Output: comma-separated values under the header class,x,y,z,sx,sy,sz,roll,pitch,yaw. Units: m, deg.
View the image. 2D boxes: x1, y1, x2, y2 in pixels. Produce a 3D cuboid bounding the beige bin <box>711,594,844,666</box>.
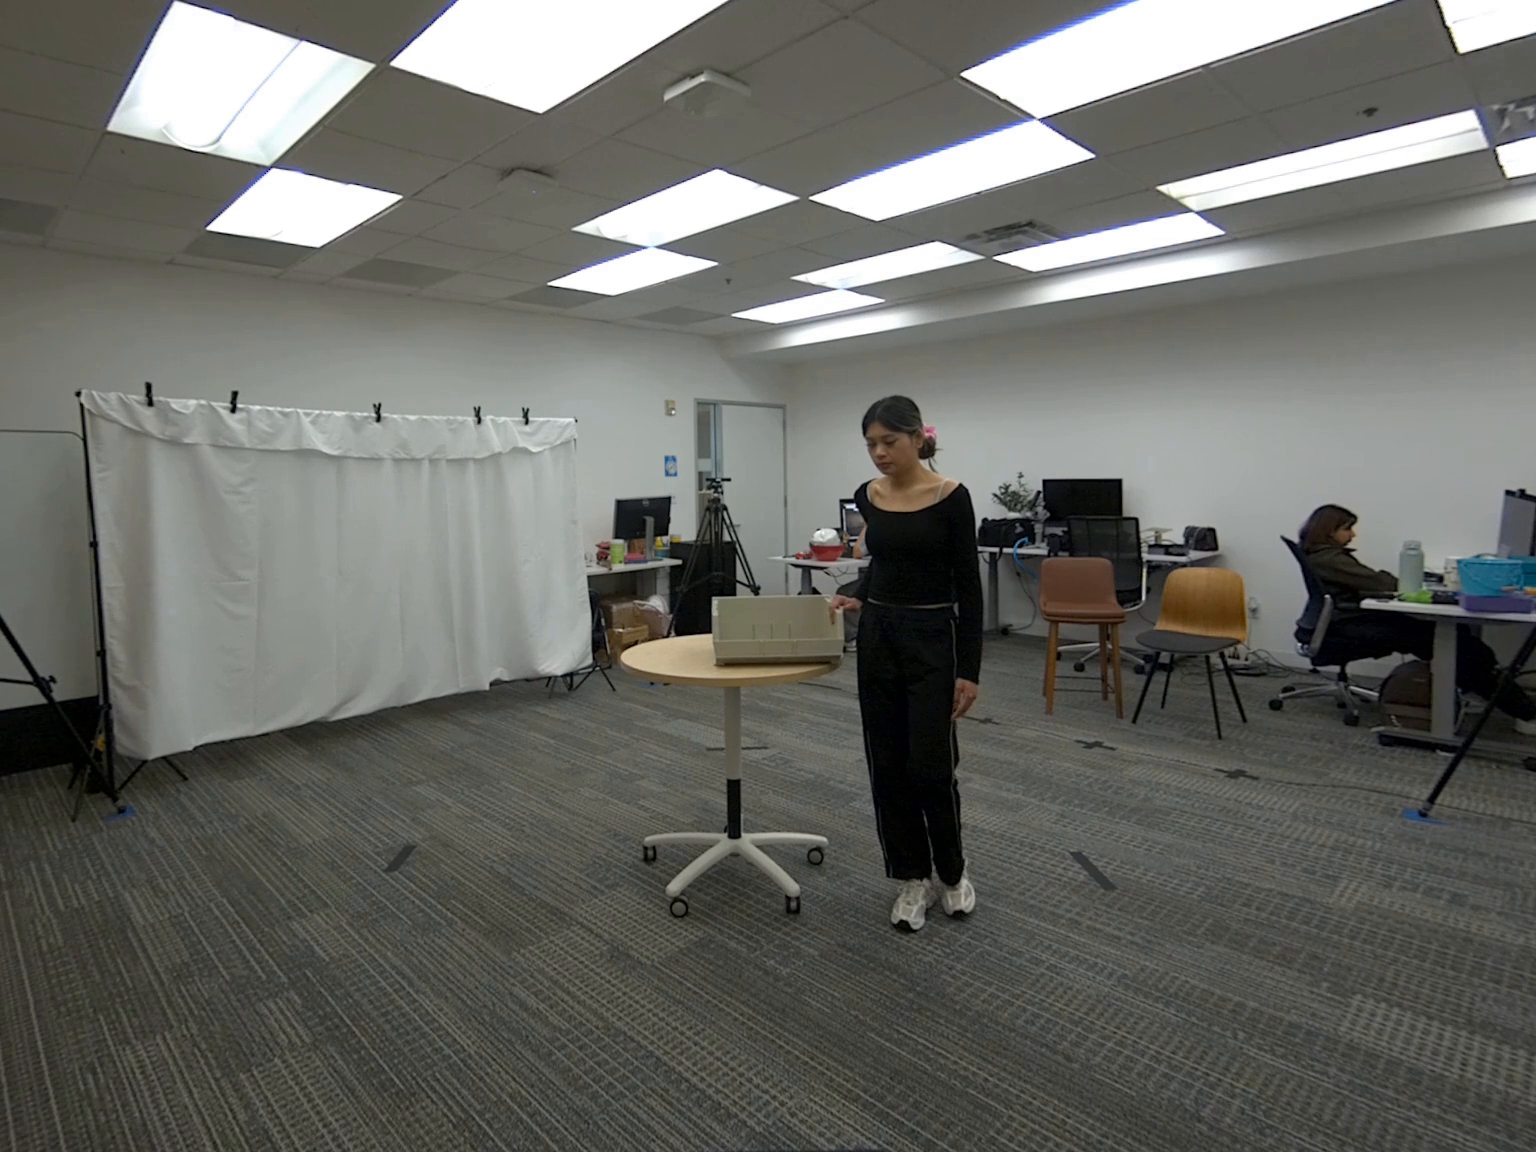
class,x,y,z,sx,sy,sz,roll,pitch,yaw
beige bin,0.025,0.193,2.876,0.423,0.188,0.379,-1,7,0
